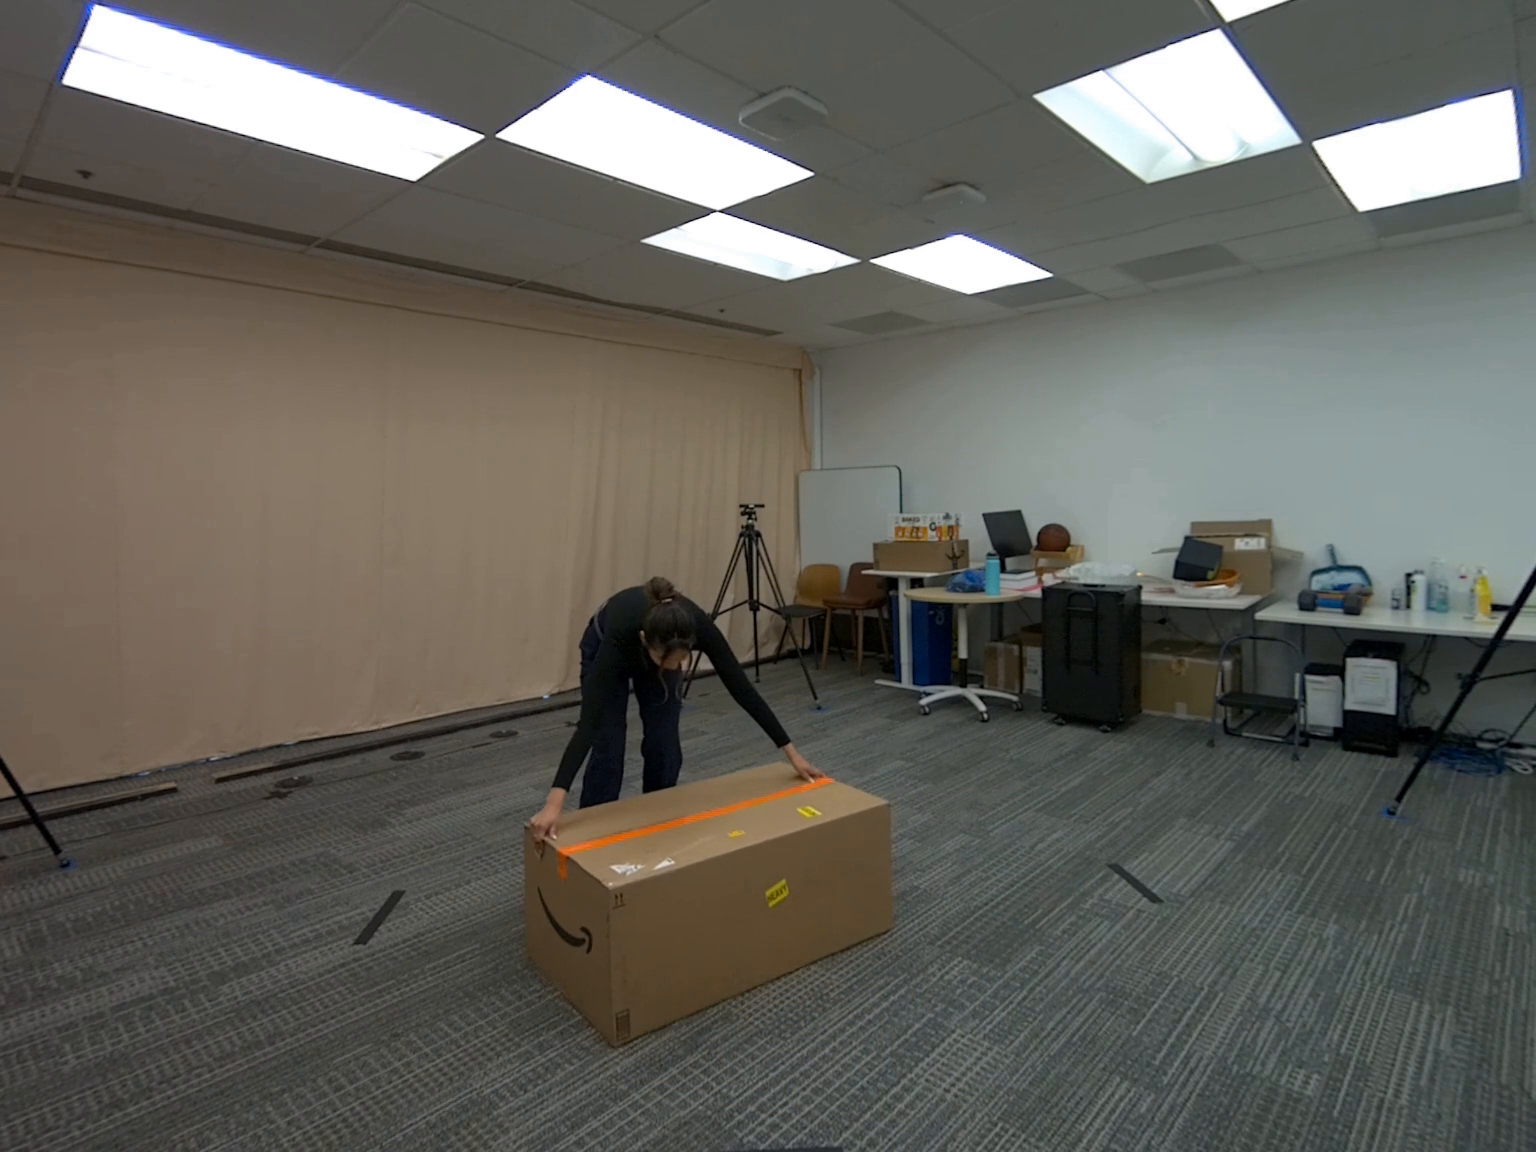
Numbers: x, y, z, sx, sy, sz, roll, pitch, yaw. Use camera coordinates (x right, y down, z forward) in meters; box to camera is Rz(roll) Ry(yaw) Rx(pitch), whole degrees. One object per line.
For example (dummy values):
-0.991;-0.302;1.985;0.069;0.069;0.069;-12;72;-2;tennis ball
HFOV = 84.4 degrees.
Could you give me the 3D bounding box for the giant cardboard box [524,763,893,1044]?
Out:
-0.171;0.955;2.669;0.996;0.425;0.596;-4;5;-36;giant cardboard box
